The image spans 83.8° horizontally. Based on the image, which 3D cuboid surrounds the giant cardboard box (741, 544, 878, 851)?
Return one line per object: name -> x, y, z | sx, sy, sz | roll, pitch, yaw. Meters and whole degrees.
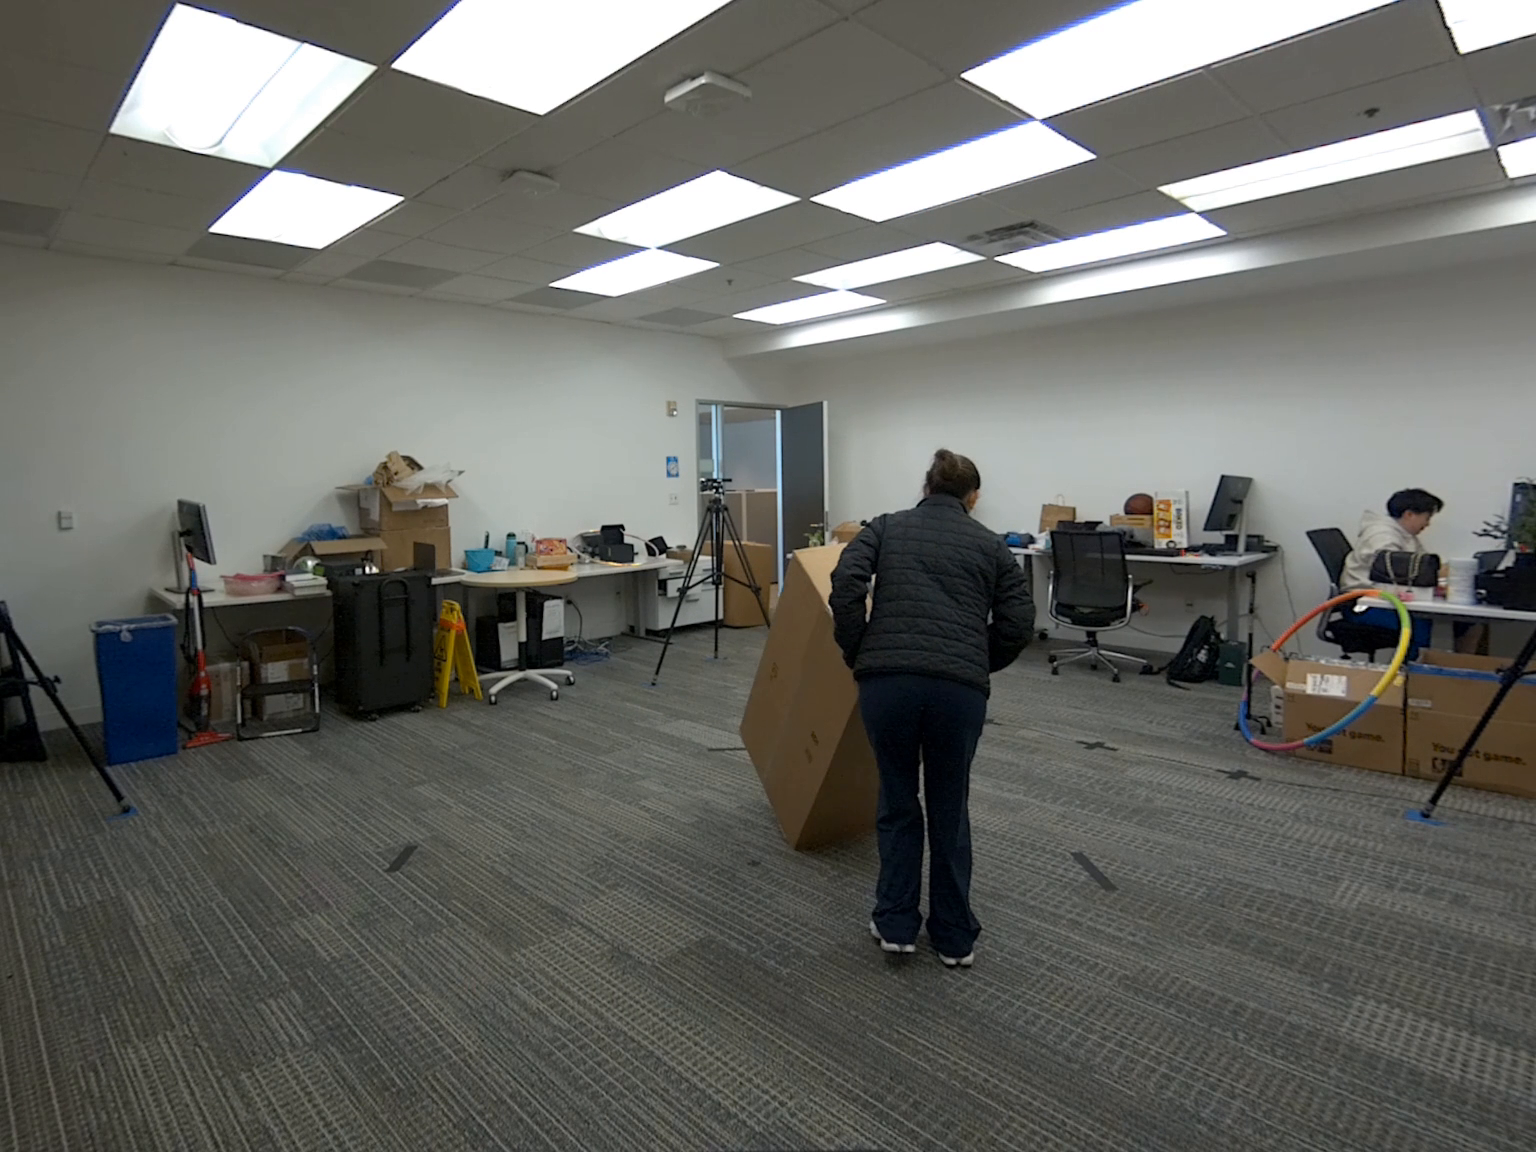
giant cardboard box -> 0.279, 0.449, 3.184 | 0.438, 1.008, 0.606 | -5, 44, -24
